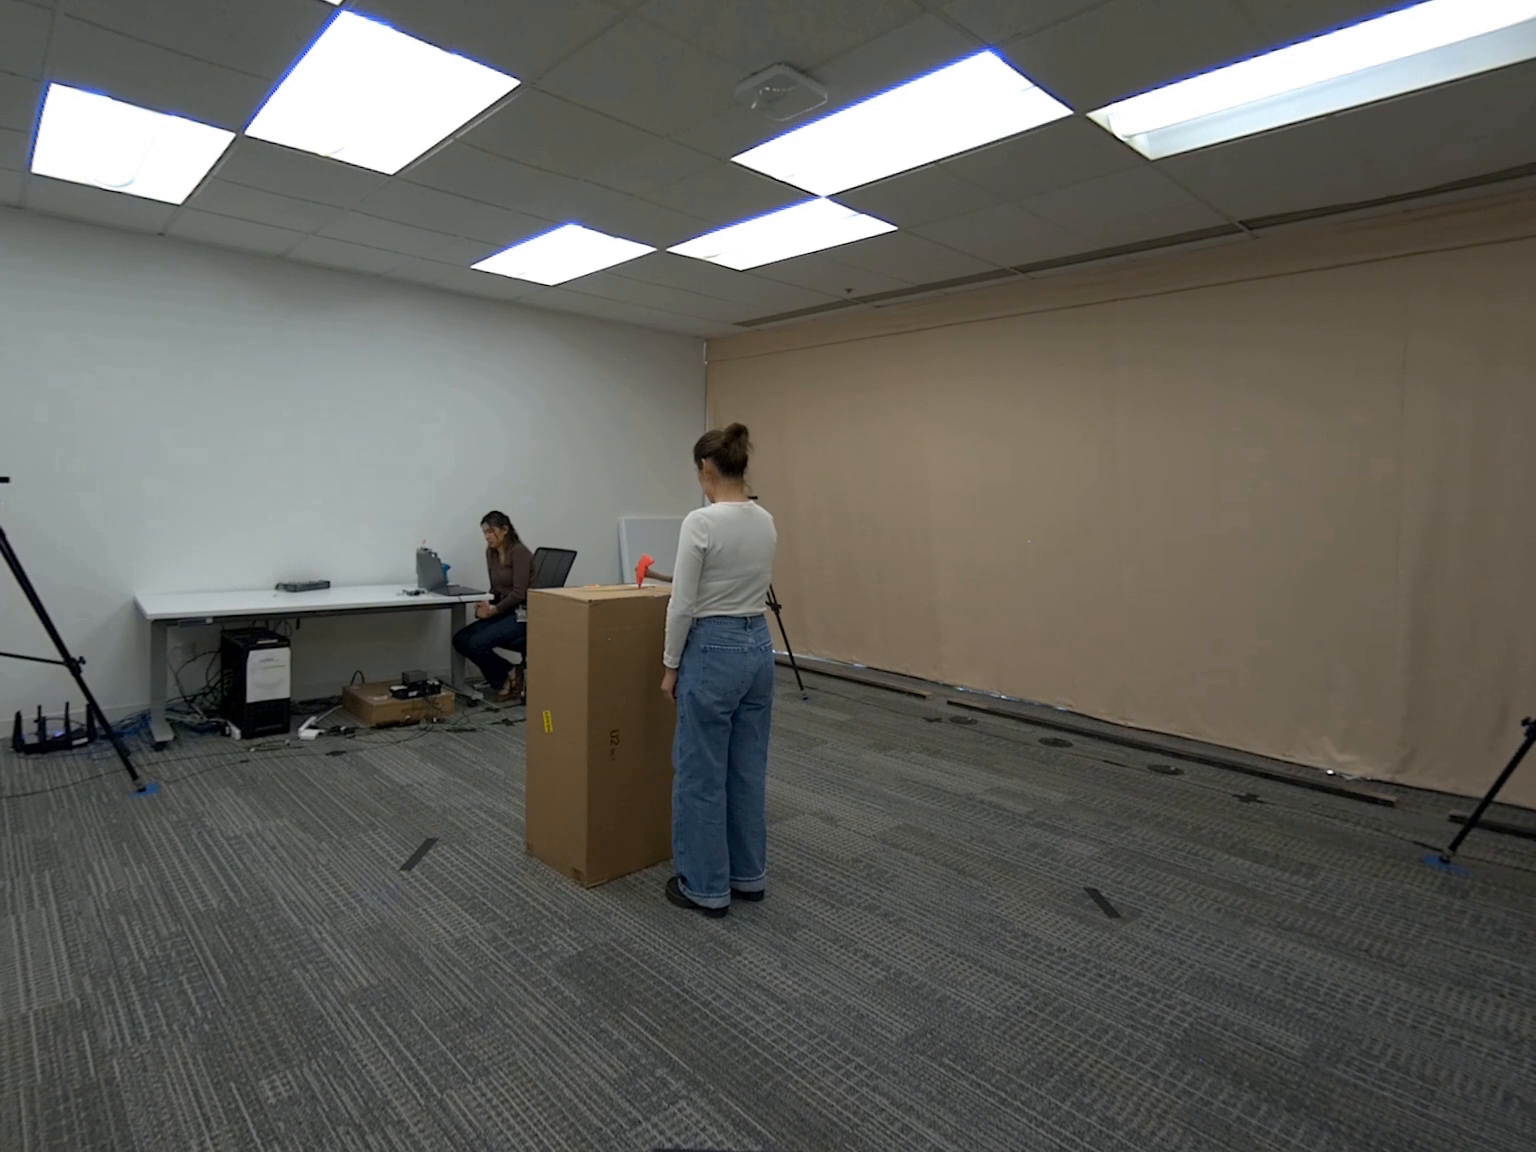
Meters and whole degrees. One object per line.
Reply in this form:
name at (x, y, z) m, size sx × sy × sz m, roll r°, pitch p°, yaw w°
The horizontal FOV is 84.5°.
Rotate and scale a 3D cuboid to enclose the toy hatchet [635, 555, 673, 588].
toy hatchet at (-0.414, -0.034, 3.263) m, size 0.275 × 0.131 × 0.029 m, roll -5°, pitch -4°, yaw 32°
